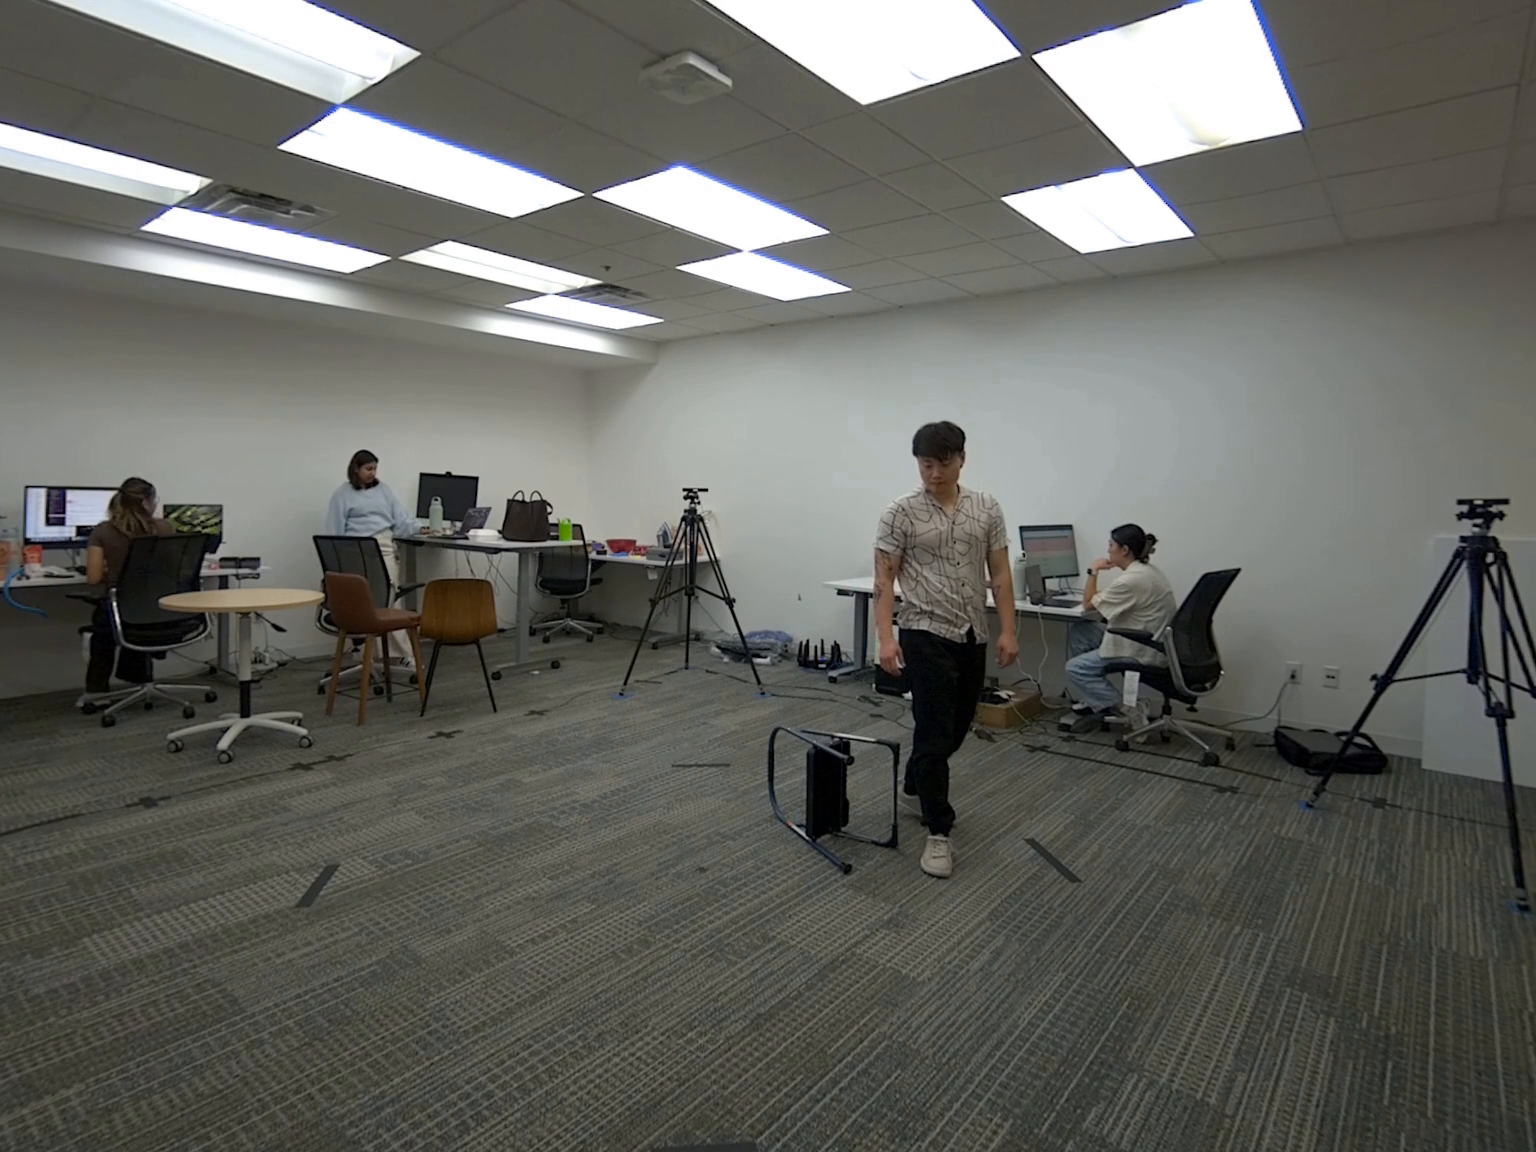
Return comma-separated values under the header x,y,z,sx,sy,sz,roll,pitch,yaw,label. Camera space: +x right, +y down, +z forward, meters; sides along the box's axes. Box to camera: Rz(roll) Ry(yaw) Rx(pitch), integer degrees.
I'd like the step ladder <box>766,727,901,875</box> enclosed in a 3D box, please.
x,y,z,sx,sy,sz,roll,pitch,yaw,label
0.170,0.836,3.423,0.627,0.430,0.338,5,4,44,step ladder
